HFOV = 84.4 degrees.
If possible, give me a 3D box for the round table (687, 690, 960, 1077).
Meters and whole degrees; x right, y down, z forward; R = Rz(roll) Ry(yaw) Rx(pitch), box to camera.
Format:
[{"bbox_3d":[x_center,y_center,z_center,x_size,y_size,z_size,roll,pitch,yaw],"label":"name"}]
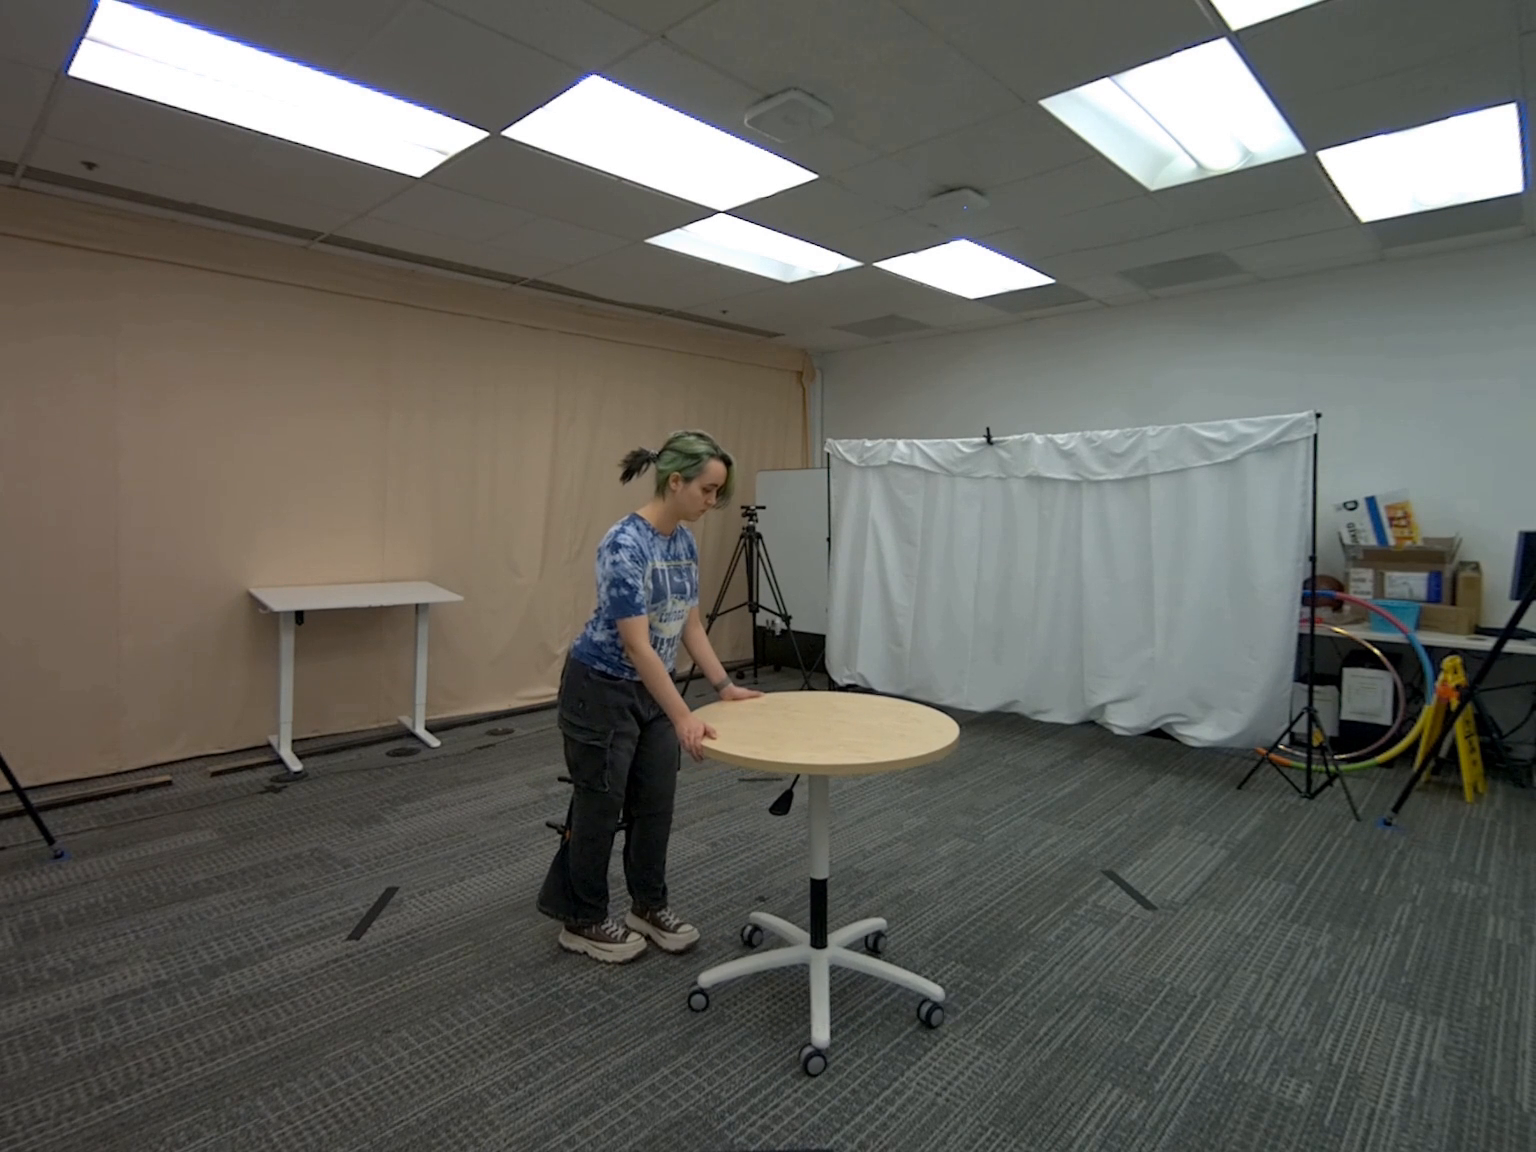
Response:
[{"bbox_3d":[0.152,0.808,2.377,0.763,0.792,0.767,0,4,-2],"label":"round table"}]
